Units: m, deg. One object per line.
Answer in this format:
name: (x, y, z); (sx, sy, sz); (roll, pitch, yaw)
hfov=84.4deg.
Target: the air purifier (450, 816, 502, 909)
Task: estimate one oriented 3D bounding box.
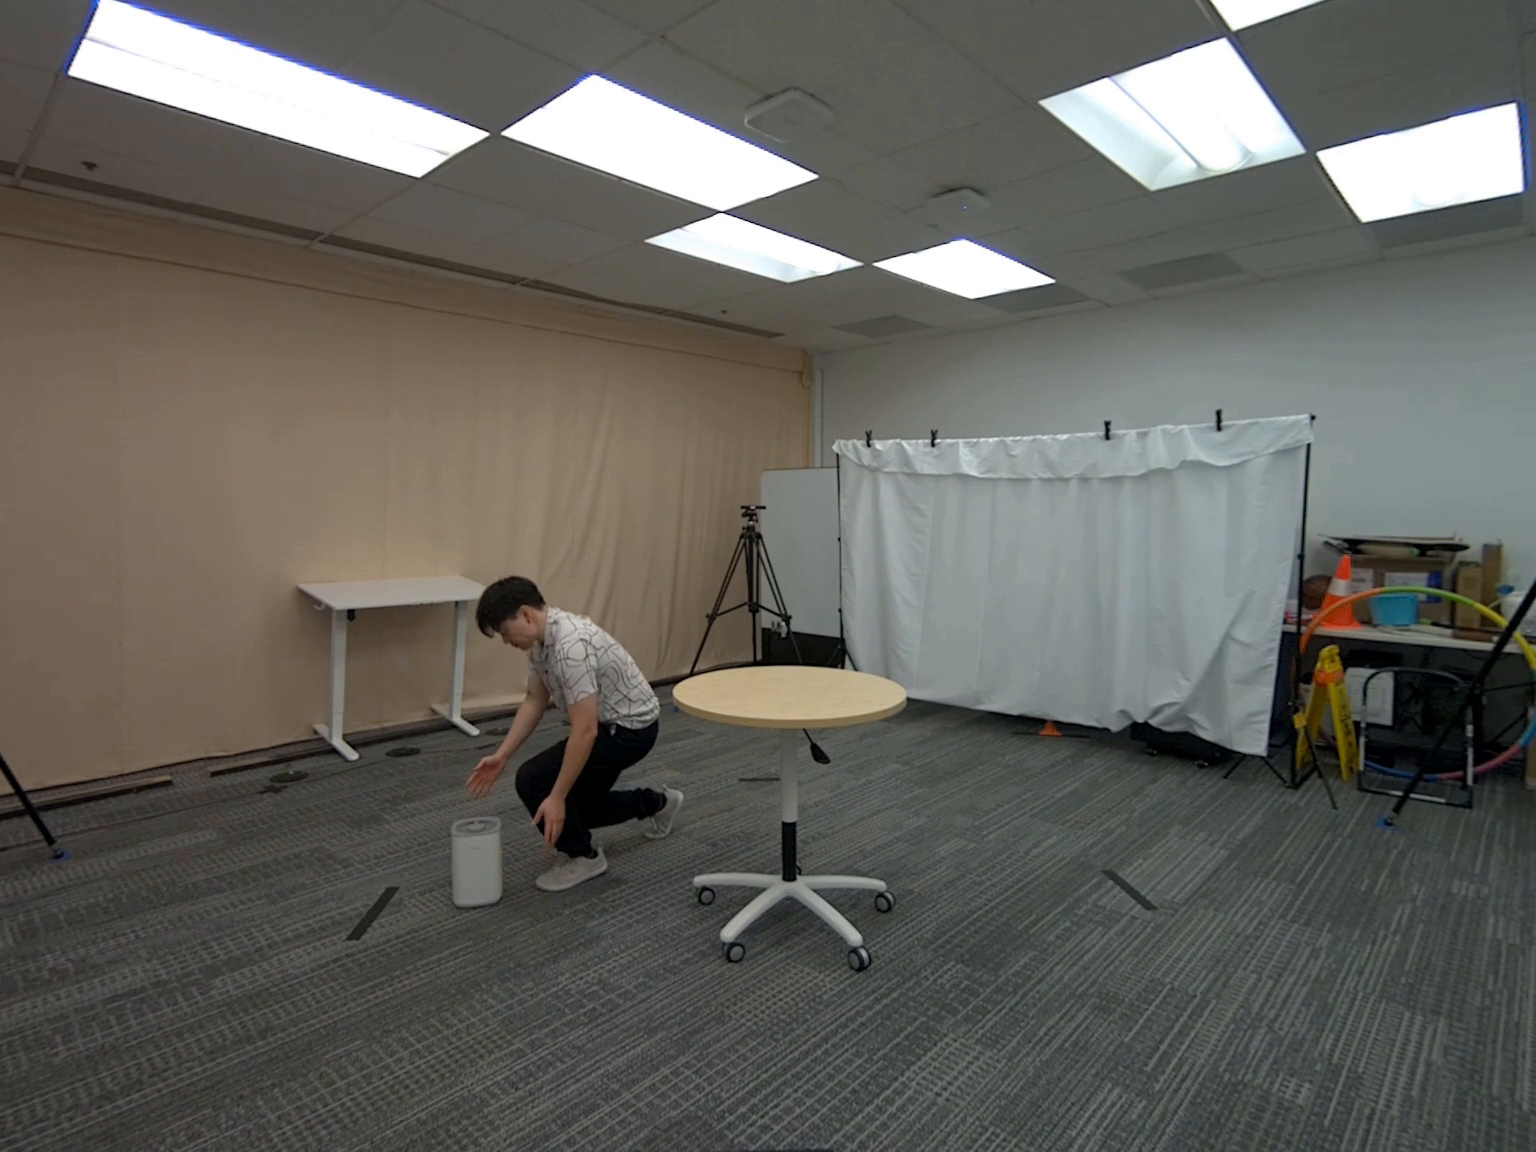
air purifier: (-1.037, 1.023, 2.994); (0.168, 0.265, 0.175); (-1, 2, -19)
